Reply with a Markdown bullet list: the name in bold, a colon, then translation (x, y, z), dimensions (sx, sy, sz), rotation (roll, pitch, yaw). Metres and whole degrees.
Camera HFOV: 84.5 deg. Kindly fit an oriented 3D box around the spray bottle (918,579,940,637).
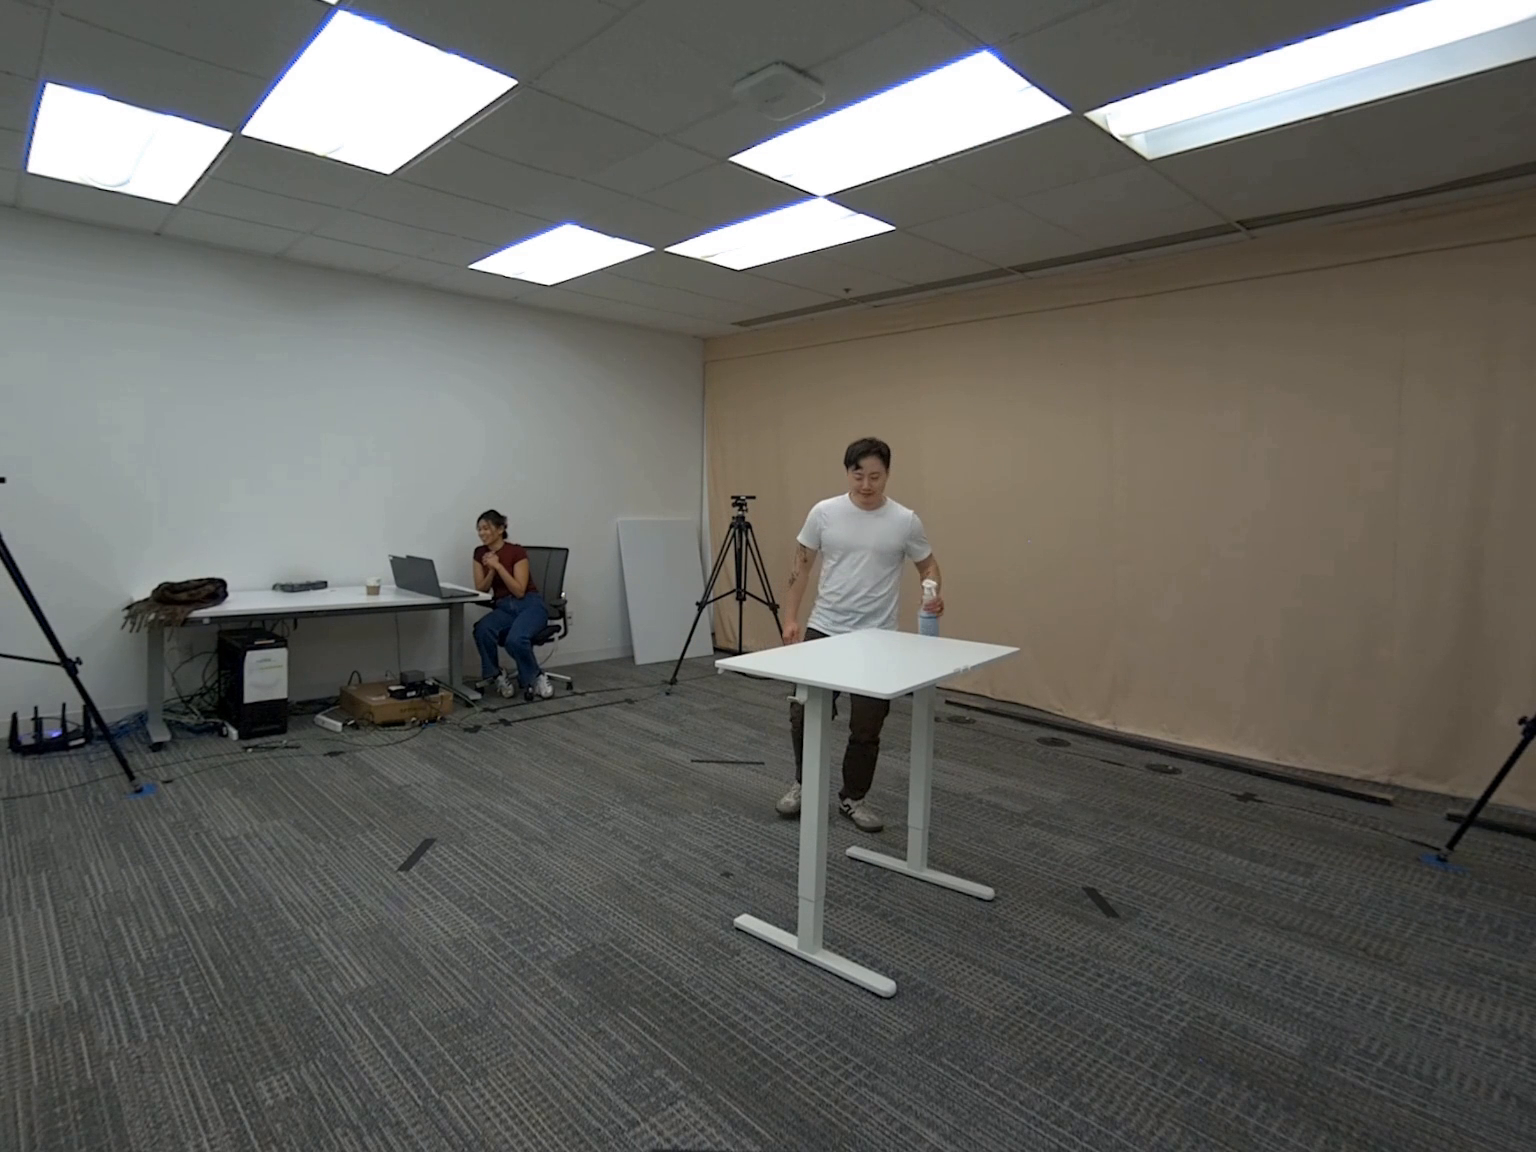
- **spray bottle**: translation (0.634, 0.155, 3.432), dimensions (0.087, 0.294, 0.091), rotation (-1, 16, 2)
